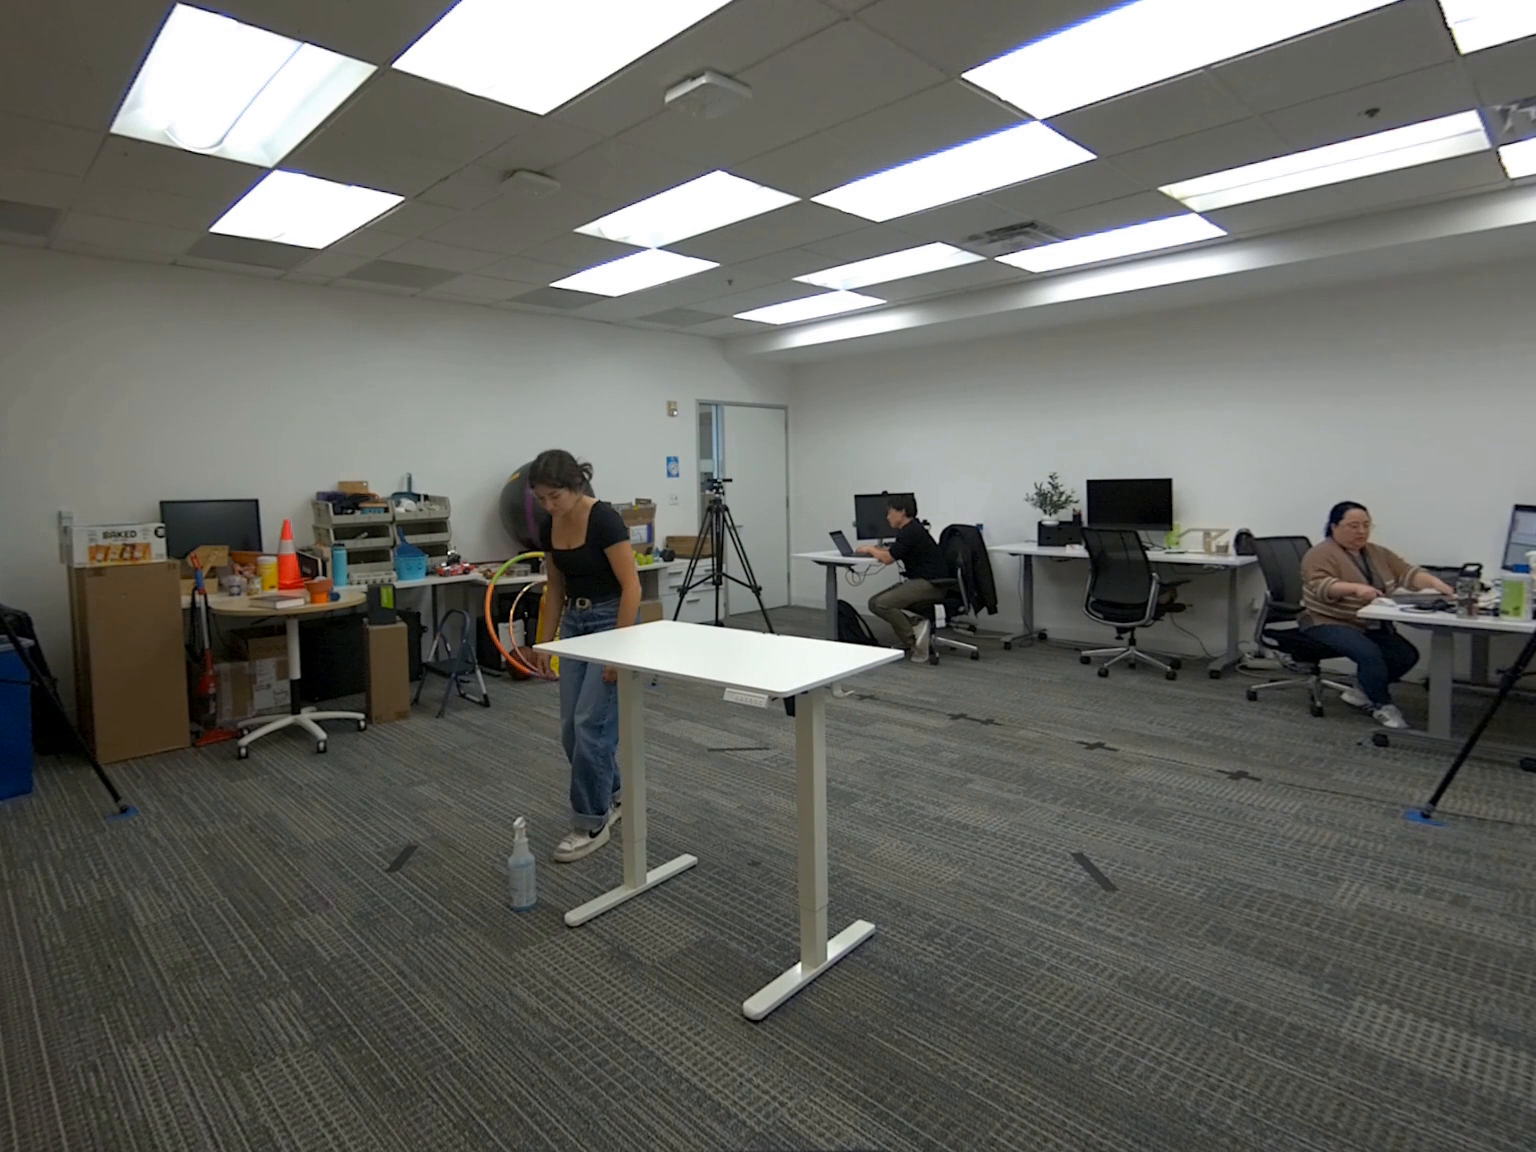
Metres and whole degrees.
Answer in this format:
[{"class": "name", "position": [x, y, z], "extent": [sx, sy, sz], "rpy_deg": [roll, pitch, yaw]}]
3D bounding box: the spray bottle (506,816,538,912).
[{"class": "spray bottle", "position": [-0.817, 0.952, 2.822], "extent": [0.089, 0.296, 0.088], "rpy_deg": [3, 5, 23]}]
